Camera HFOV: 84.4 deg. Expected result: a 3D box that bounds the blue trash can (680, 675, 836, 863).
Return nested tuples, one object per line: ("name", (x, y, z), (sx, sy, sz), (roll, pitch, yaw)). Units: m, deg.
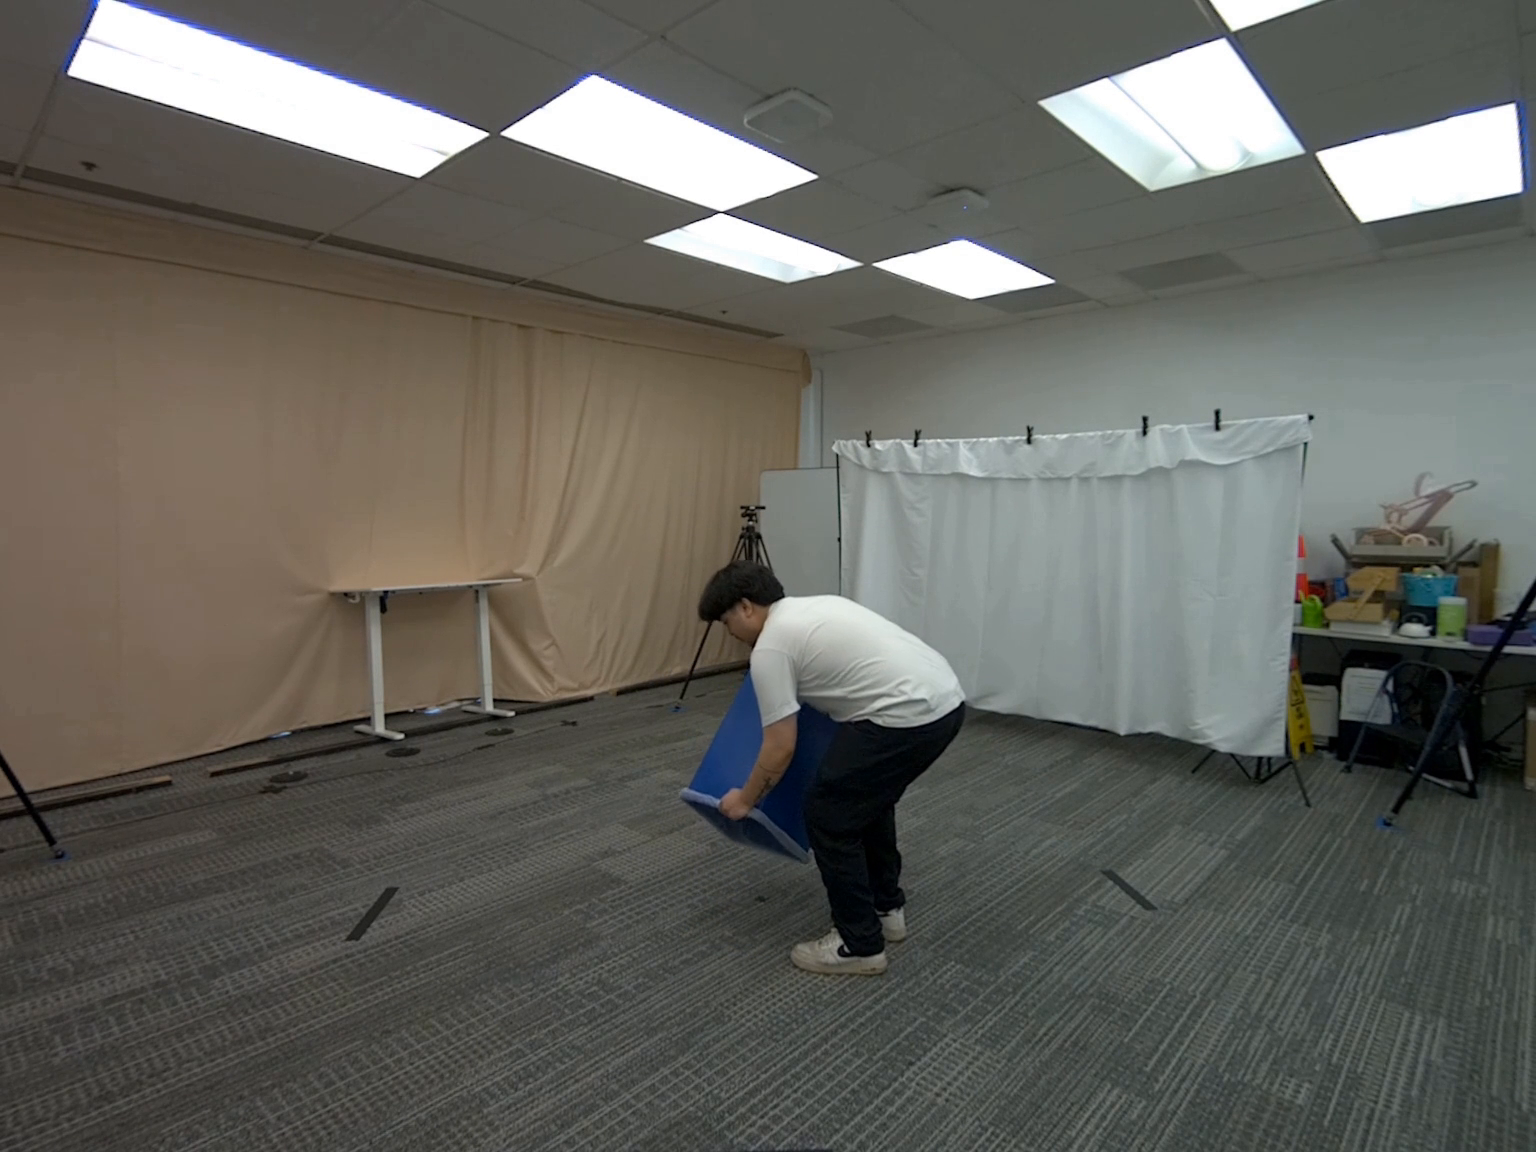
("blue trash can", (0.065, 0.592, 3.034), (0.390, 0.714, 0.362), (0, -38, 41))
